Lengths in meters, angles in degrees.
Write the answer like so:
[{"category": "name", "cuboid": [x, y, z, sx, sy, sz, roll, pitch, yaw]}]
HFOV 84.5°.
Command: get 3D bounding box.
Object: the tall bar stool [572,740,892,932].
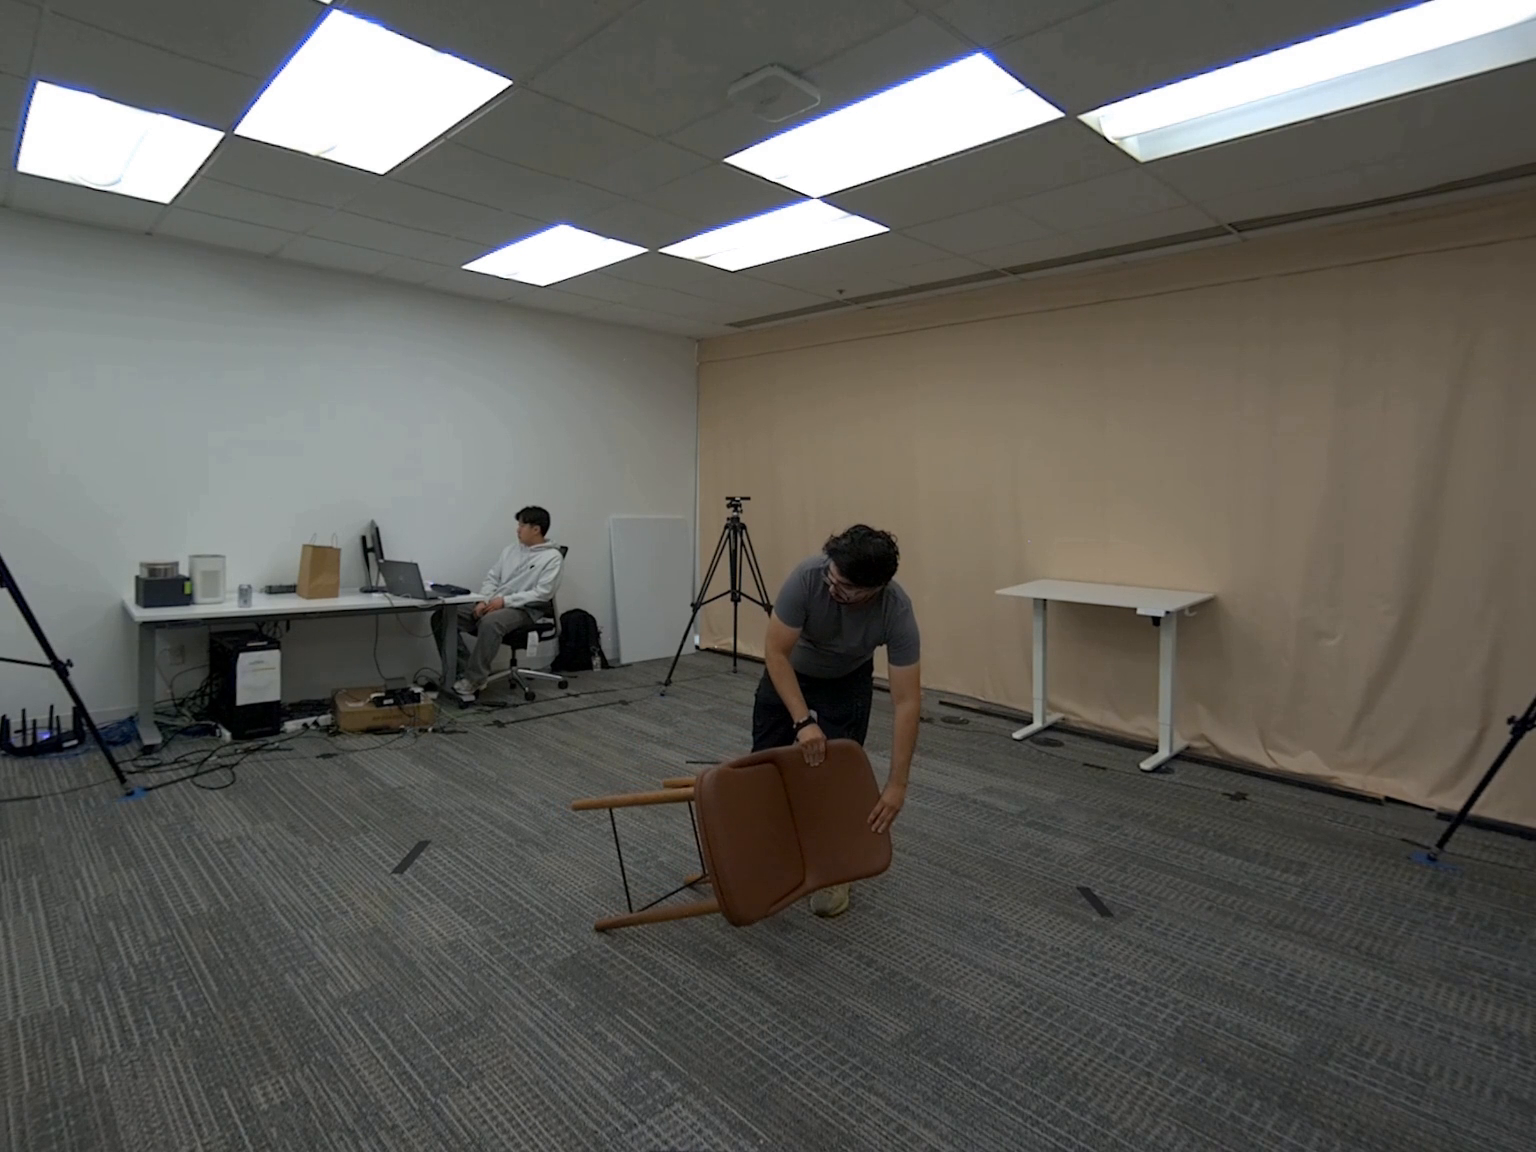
[{"category": "tall bar stool", "cuboid": [-0.134, 0.818, 2.635, 0.902, 0.461, 0.457, -20, -12, 35]}]
